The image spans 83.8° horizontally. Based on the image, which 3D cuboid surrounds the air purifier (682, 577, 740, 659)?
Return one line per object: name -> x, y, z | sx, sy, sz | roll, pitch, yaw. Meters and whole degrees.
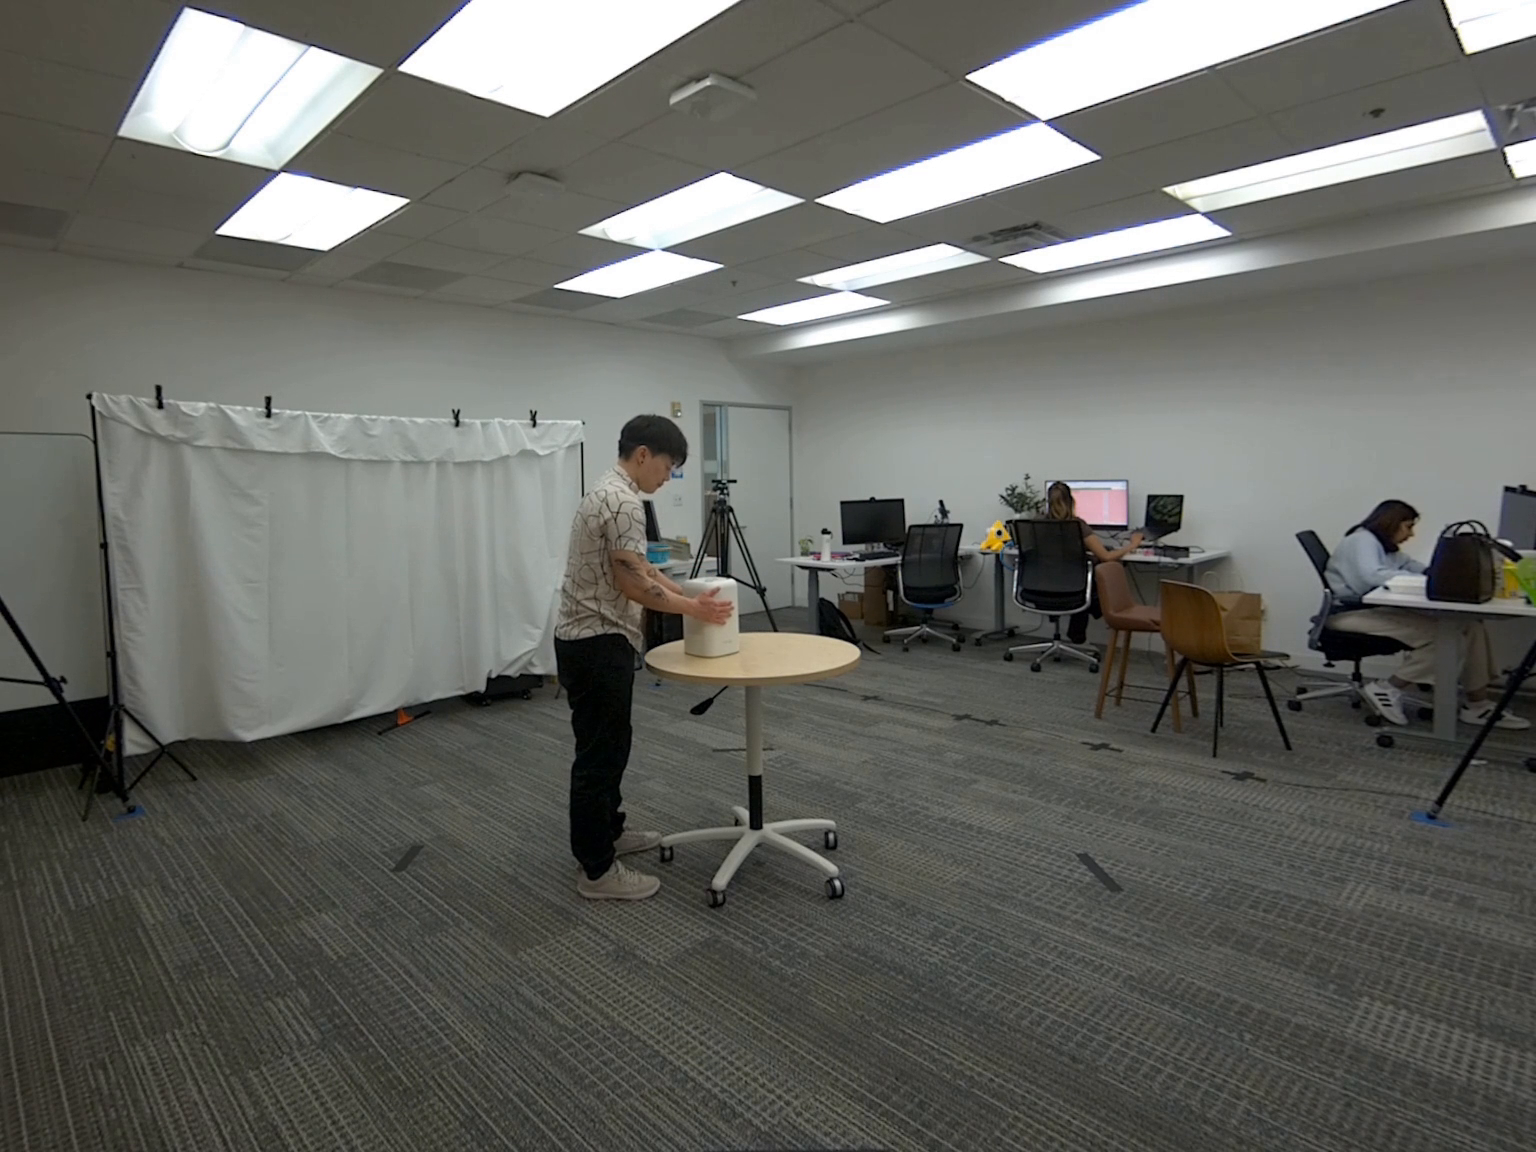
air purifier -> -0.202, 0.142, 3.064 | 0.166, 0.264, 0.177 | -5, 6, -43
